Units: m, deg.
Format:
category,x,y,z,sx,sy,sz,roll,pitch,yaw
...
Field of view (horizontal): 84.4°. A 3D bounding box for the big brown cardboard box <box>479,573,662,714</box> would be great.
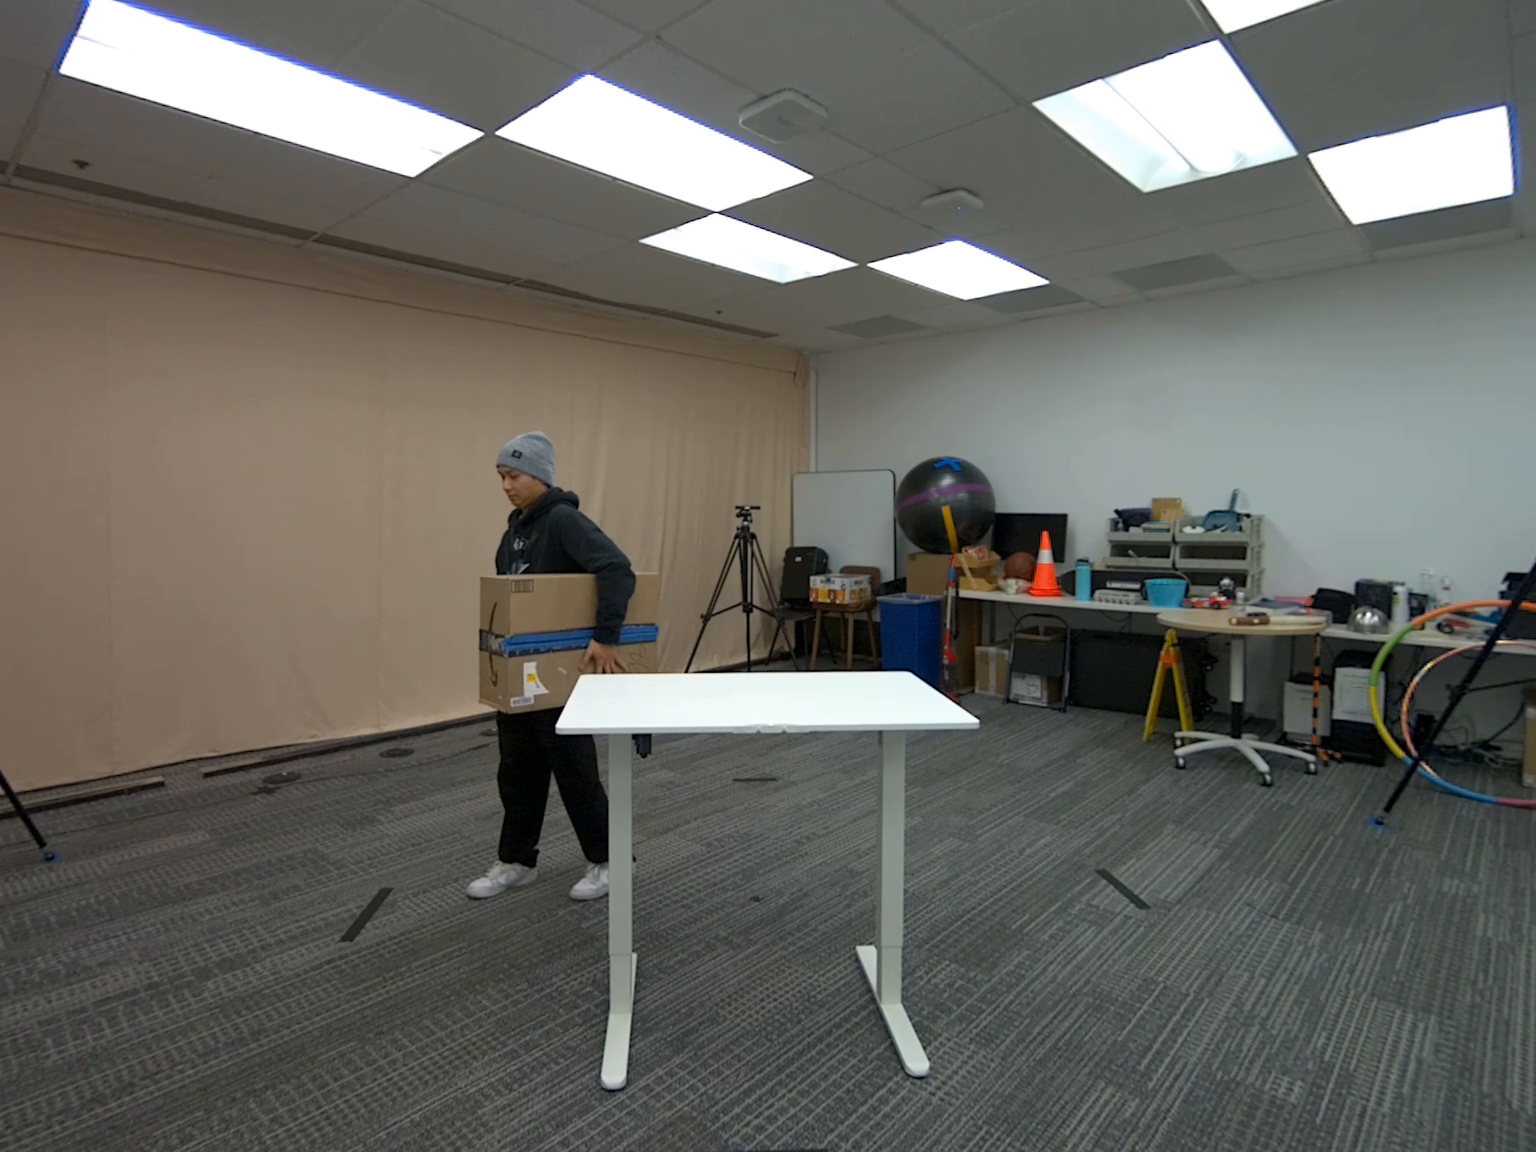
category,x,y,z,sx,sy,sz,roll,pitch,yaw
big brown cardboard box,-0.656,0.203,2.820,0.571,0.417,0.241,-3,3,-41
